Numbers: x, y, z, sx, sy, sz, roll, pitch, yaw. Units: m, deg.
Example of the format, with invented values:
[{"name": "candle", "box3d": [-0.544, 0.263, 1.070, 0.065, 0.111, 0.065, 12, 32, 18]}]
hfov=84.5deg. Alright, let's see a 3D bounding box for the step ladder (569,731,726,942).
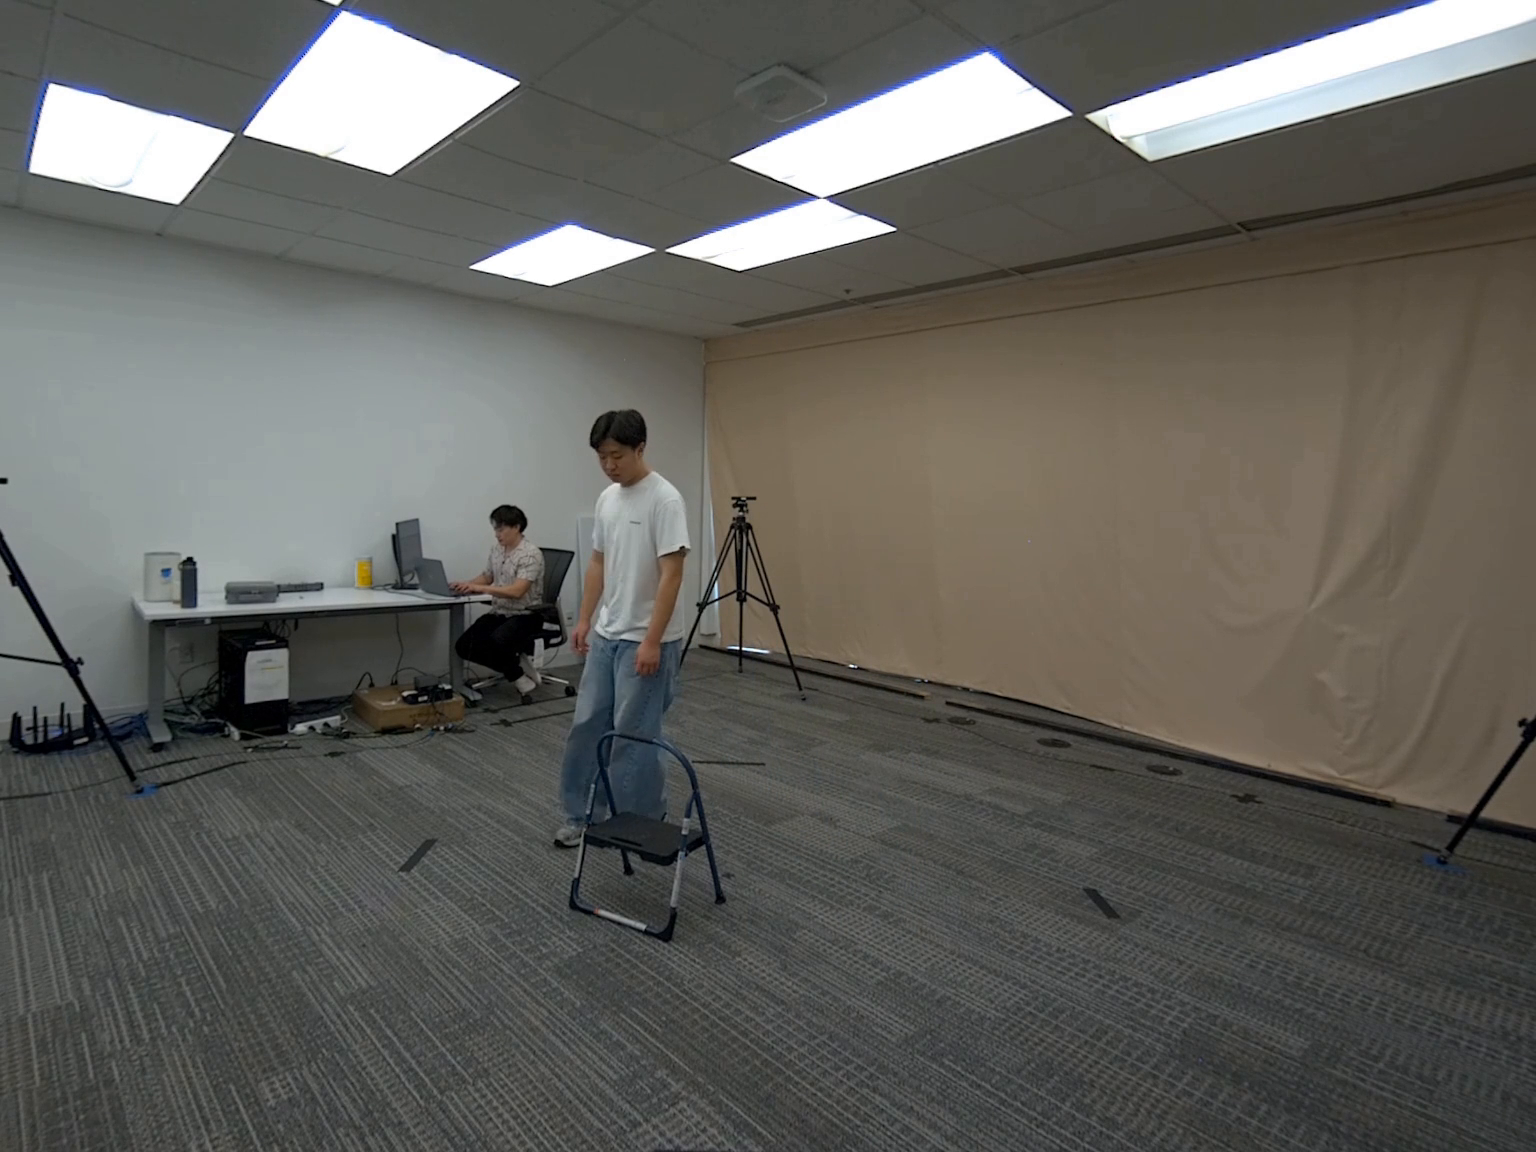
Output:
[{"name": "step ladder", "box3d": [-0.409, 0.820, 2.858, 0.440, 0.605, 0.342, 3, 4, 30]}]
